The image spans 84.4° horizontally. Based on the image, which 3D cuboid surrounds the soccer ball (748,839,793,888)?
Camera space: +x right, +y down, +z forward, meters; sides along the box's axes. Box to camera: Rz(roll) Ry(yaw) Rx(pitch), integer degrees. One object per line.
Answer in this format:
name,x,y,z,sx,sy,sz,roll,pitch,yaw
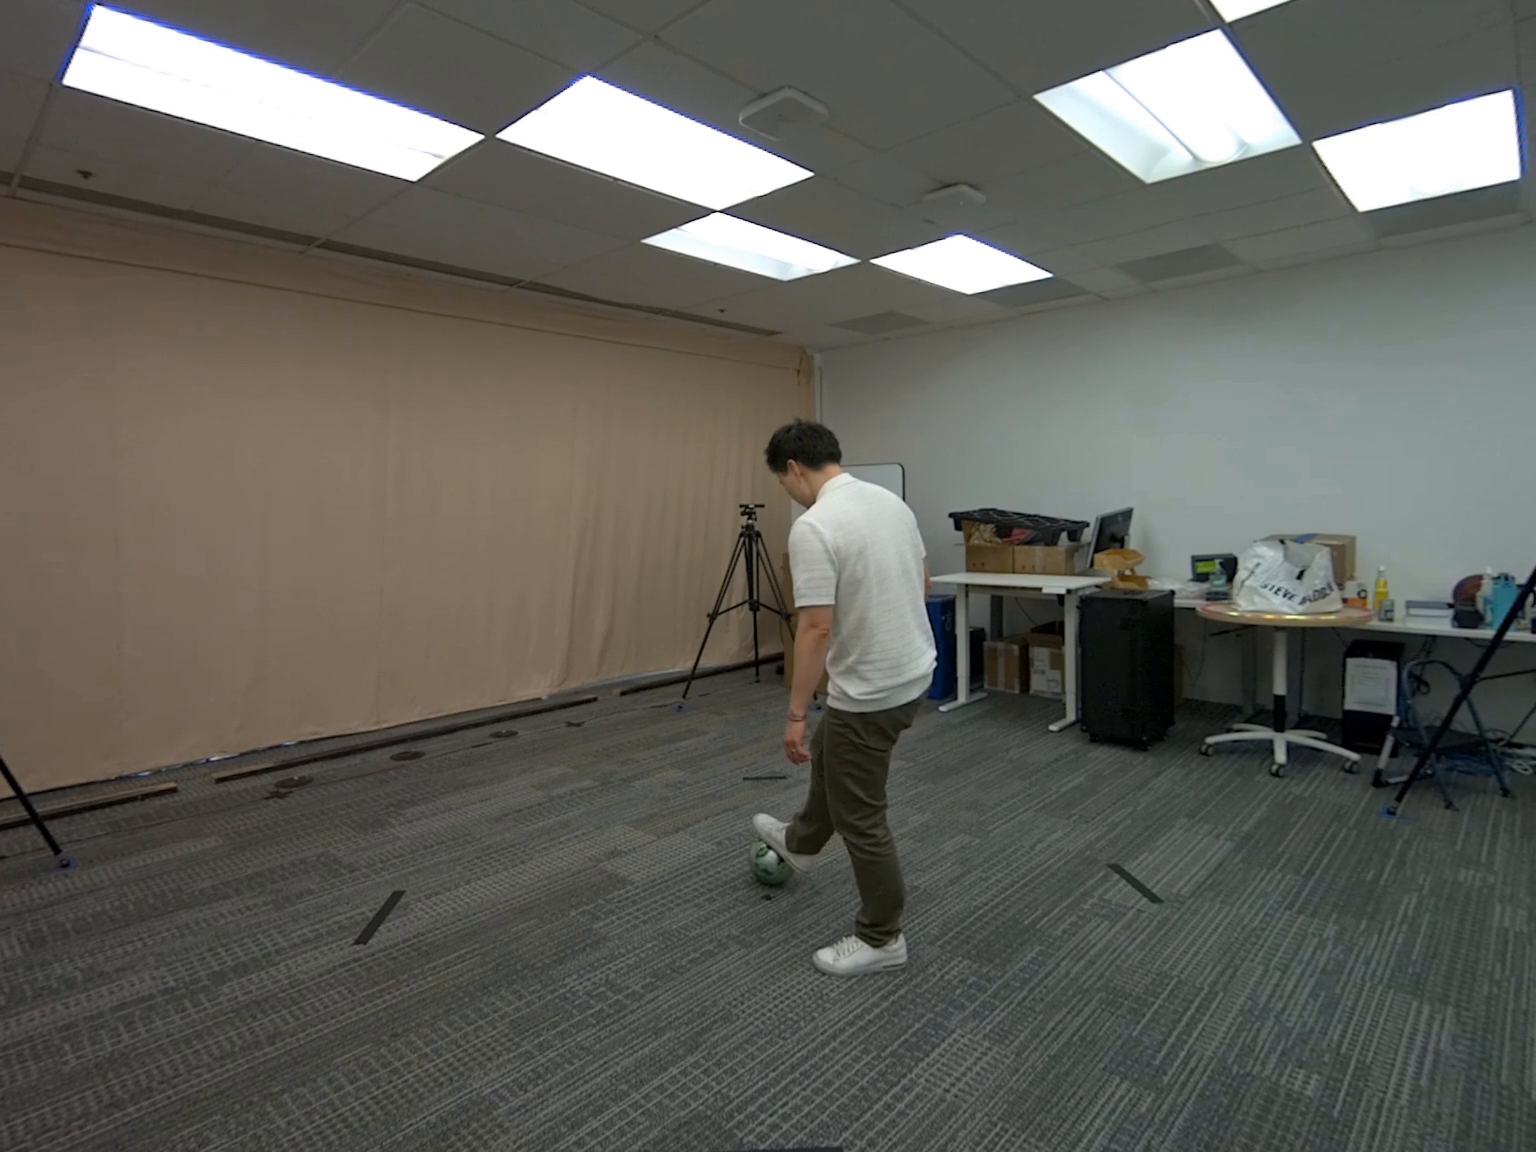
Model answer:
soccer ball,0.027,1.037,3.095,0.187,0.187,0.188,-1,4,-2
